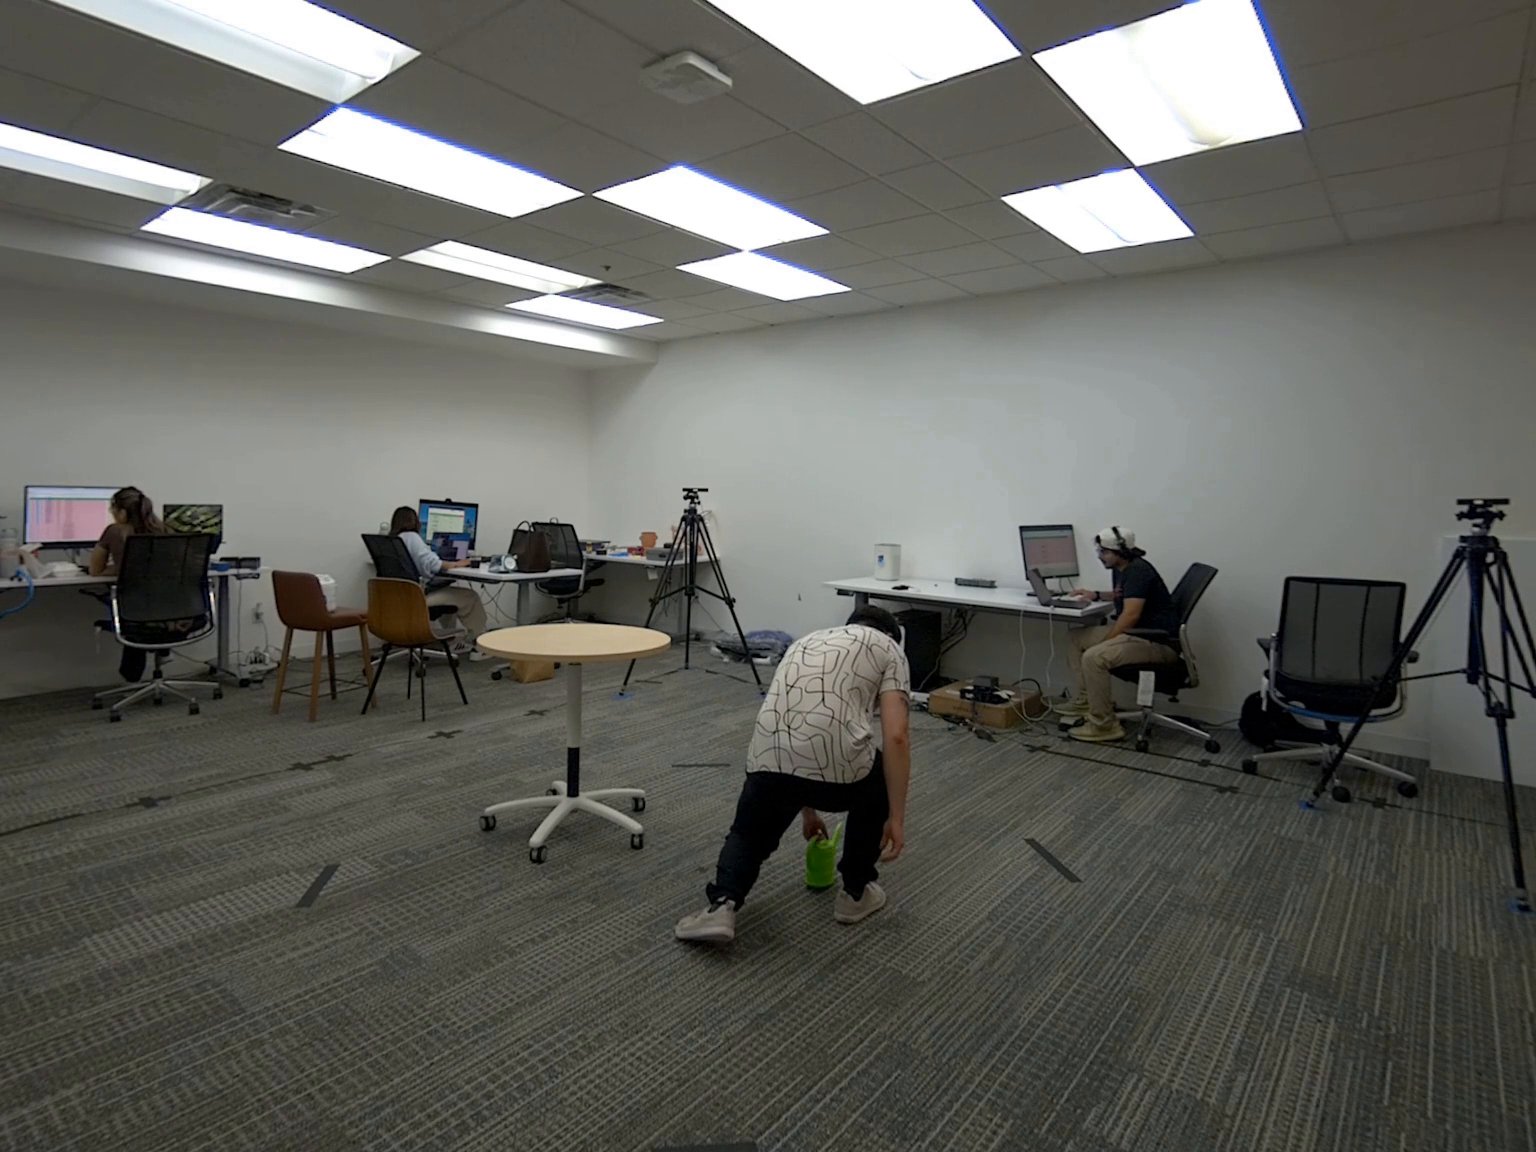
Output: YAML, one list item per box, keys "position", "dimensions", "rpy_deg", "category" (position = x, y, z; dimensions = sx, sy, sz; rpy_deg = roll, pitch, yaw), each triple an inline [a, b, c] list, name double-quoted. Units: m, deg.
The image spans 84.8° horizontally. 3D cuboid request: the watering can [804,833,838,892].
- position: [0.211, 0.993, 3.041]
  dimensions: [0.101, 0.177, 0.269]
  rpy_deg: [2, -1, 42]
  category: "watering can"
